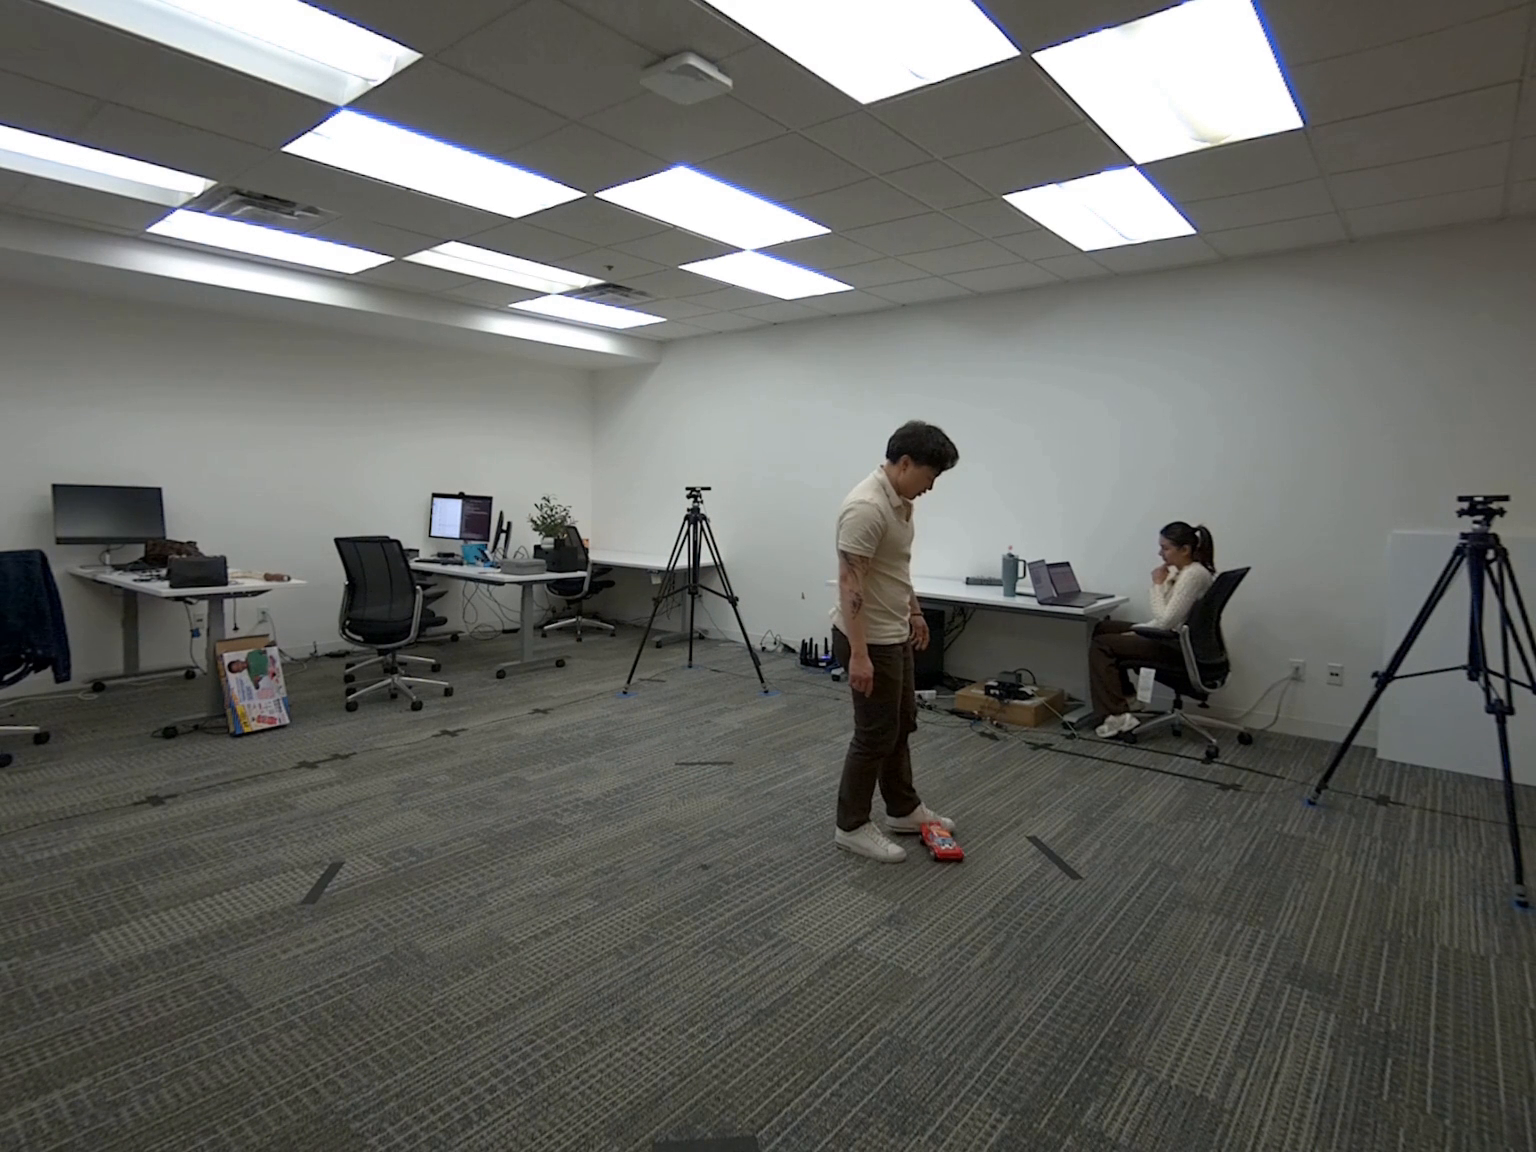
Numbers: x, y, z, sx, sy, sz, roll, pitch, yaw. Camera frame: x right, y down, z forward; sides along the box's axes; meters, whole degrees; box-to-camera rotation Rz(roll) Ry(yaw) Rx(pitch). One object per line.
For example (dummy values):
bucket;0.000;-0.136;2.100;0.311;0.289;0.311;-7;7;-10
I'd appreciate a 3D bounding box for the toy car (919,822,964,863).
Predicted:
toy car;0.662;1.034;3.320;0.129;0.082;0.259;0;16;-7
